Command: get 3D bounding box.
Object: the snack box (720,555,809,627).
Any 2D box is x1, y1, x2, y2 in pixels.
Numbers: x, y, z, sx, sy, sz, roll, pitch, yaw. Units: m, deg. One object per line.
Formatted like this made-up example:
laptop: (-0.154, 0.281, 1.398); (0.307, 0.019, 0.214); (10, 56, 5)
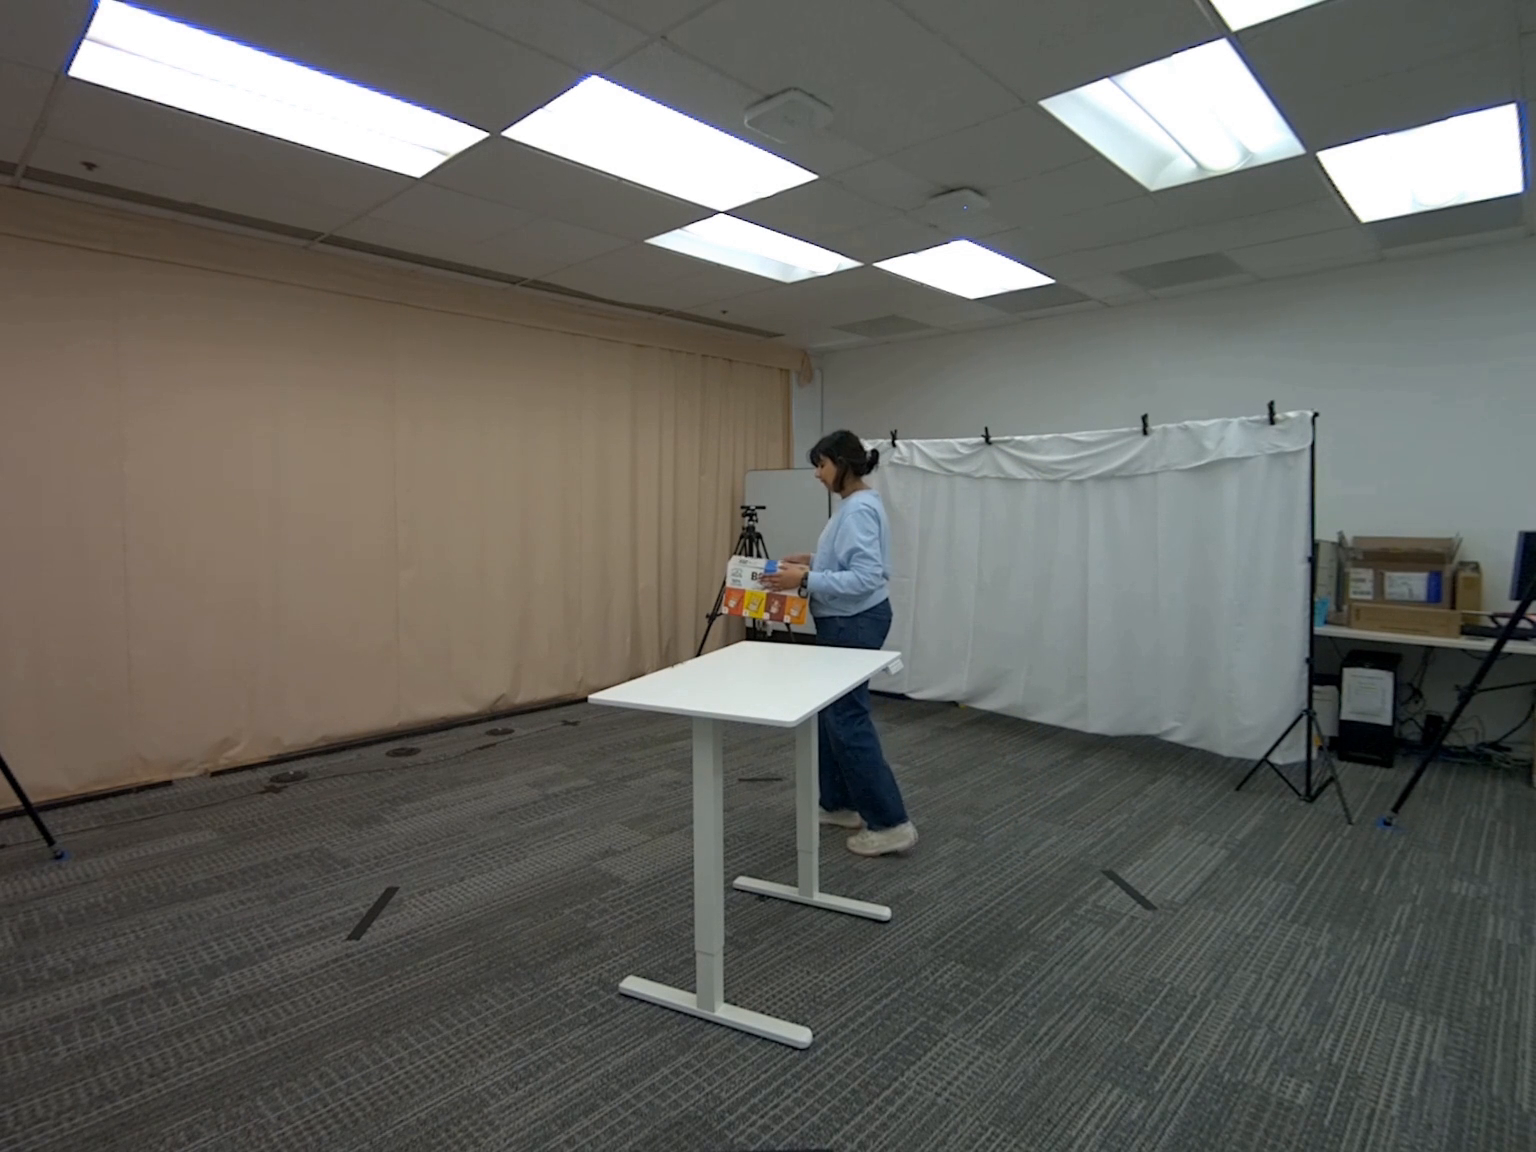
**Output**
snack box: (0.005, 0.053, 3.567); (0.342, 0.205, 0.405); (6, 7, 2)
